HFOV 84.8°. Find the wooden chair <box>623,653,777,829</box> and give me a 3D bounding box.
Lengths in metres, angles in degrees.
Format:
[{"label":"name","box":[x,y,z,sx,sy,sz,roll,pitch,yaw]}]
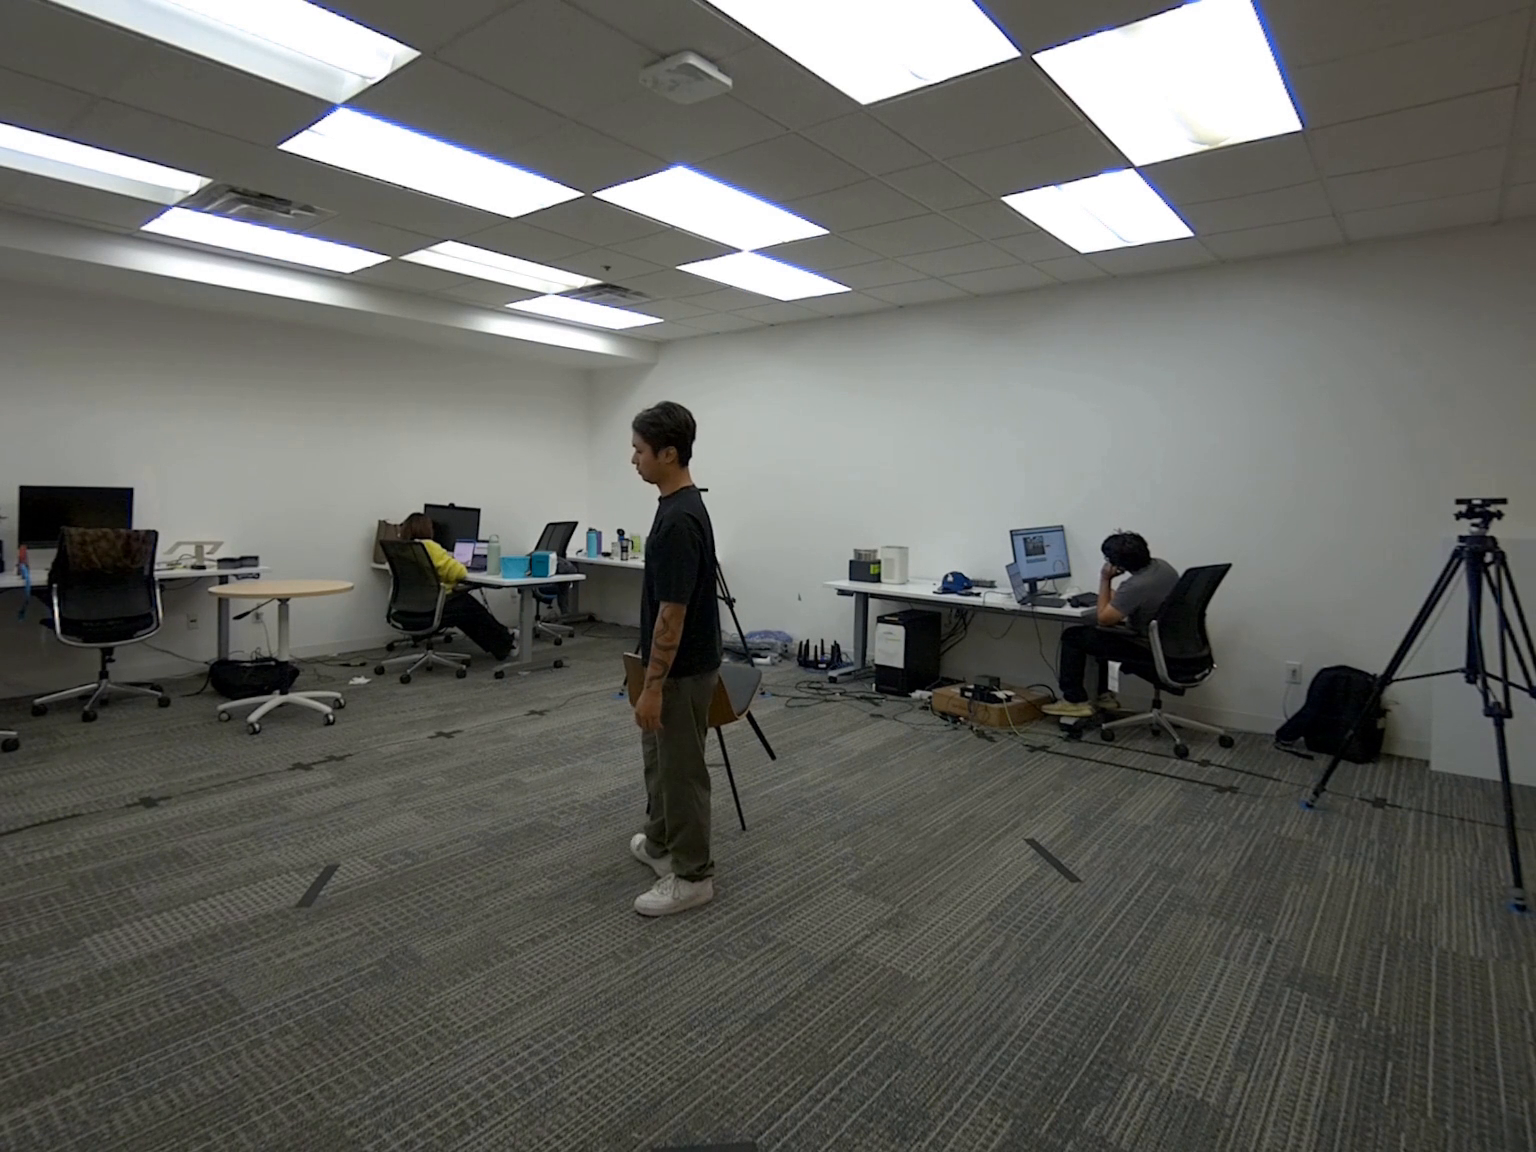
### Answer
[{"label":"wooden chair","box":[-0.298,0.538,3.565,0.489,0.853,0.526,3,31,20]}]
